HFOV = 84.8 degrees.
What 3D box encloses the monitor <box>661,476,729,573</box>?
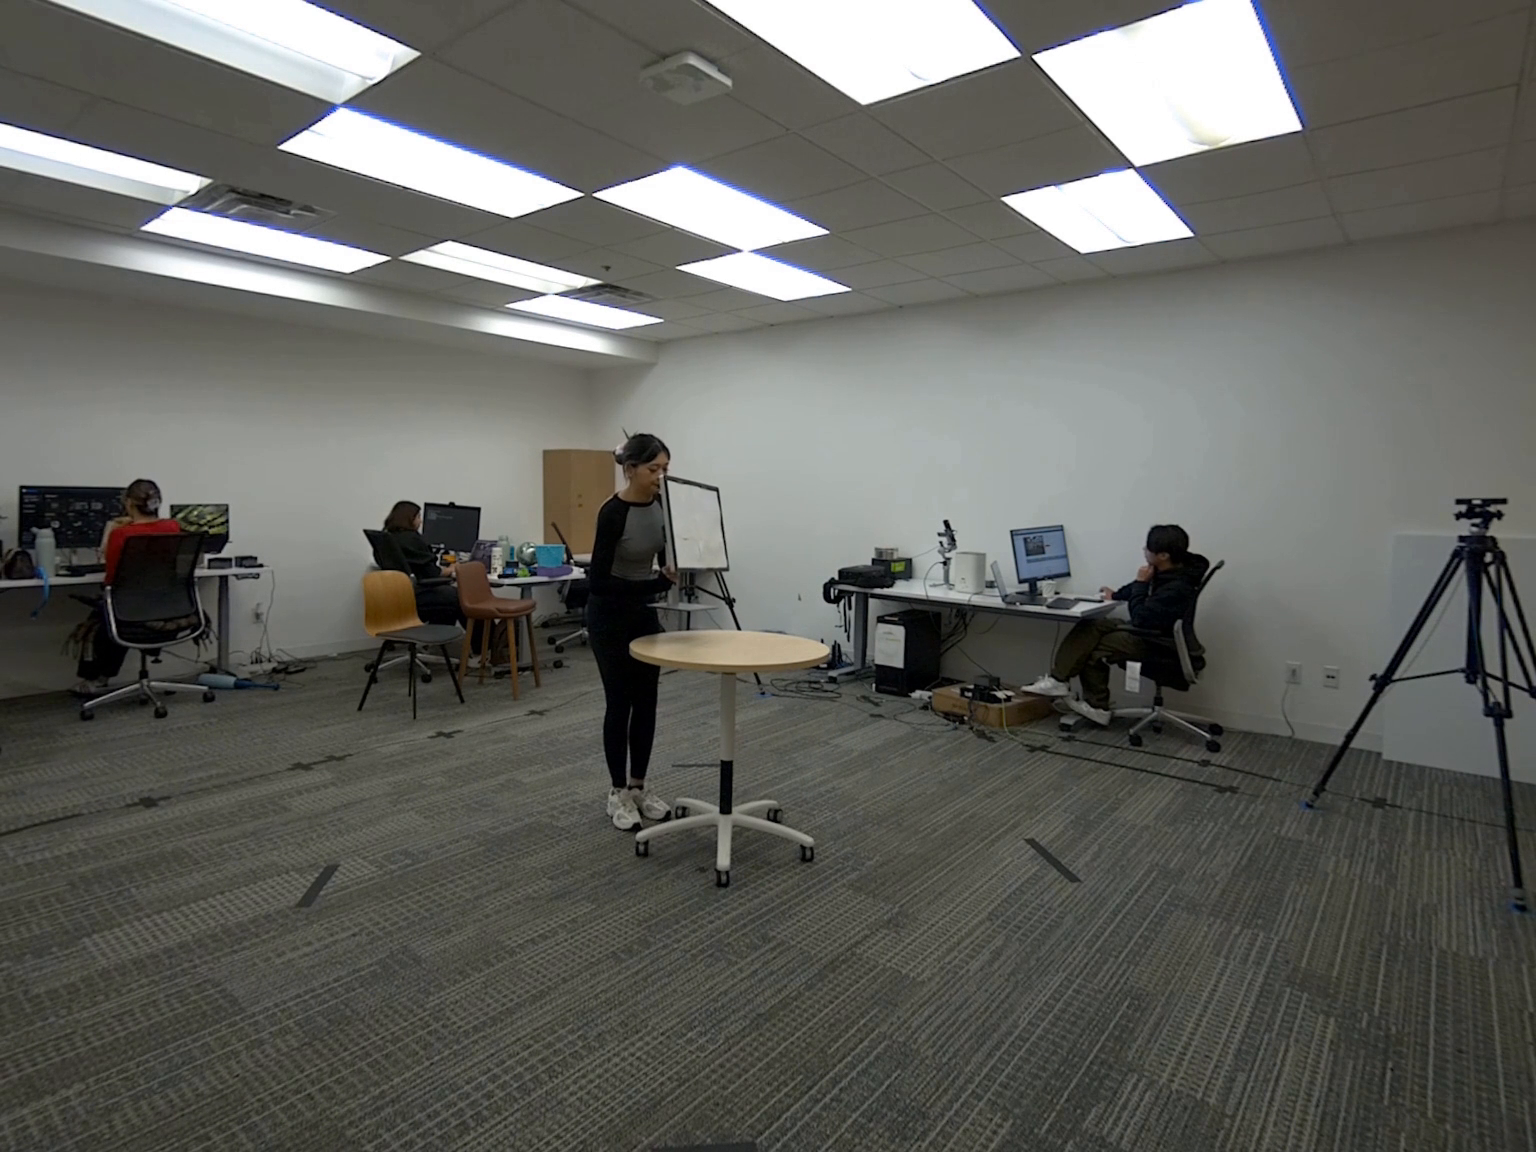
[{"bbox_3d":[-0.336,-0.121,3.389,0.191,0.522,0.528,4,1,17],"label":"monitor"}]
